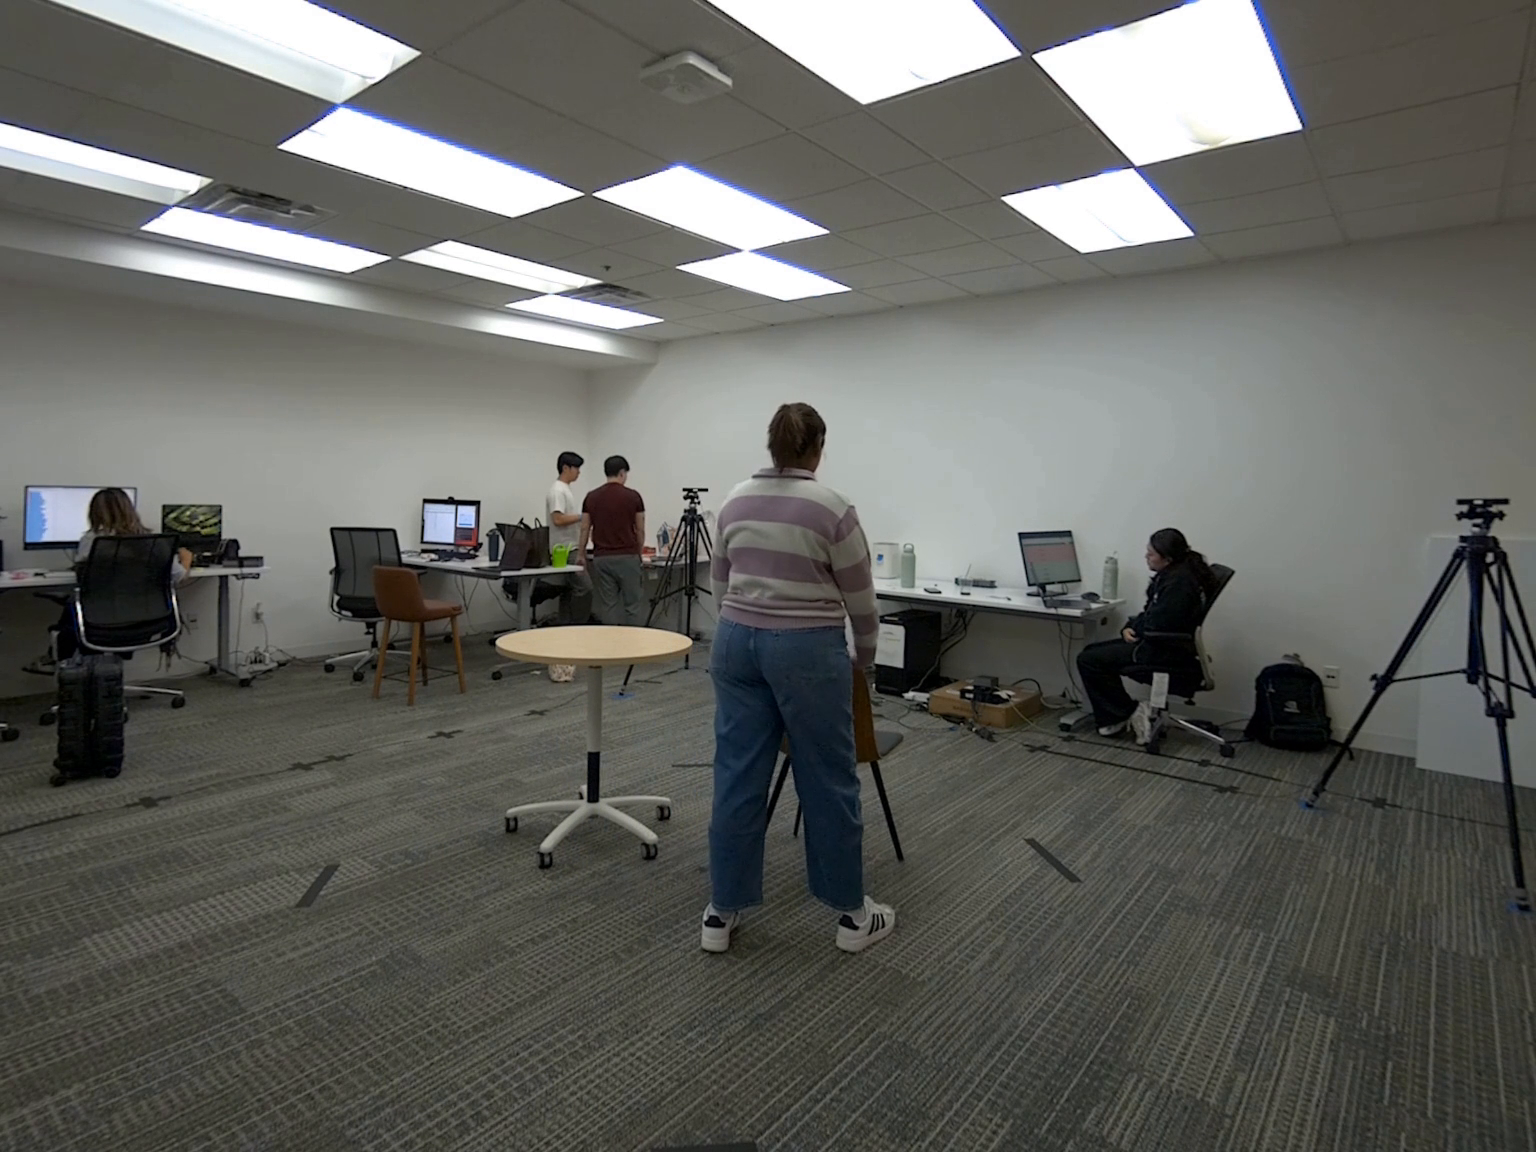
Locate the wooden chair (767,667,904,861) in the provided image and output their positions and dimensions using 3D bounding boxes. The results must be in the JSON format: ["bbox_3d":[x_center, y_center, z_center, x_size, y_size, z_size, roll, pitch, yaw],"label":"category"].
[{"bbox_3d":[0.212,0.647,3.119,0.491,0.872,0.512,3,8,27],"label":"wooden chair"}]
